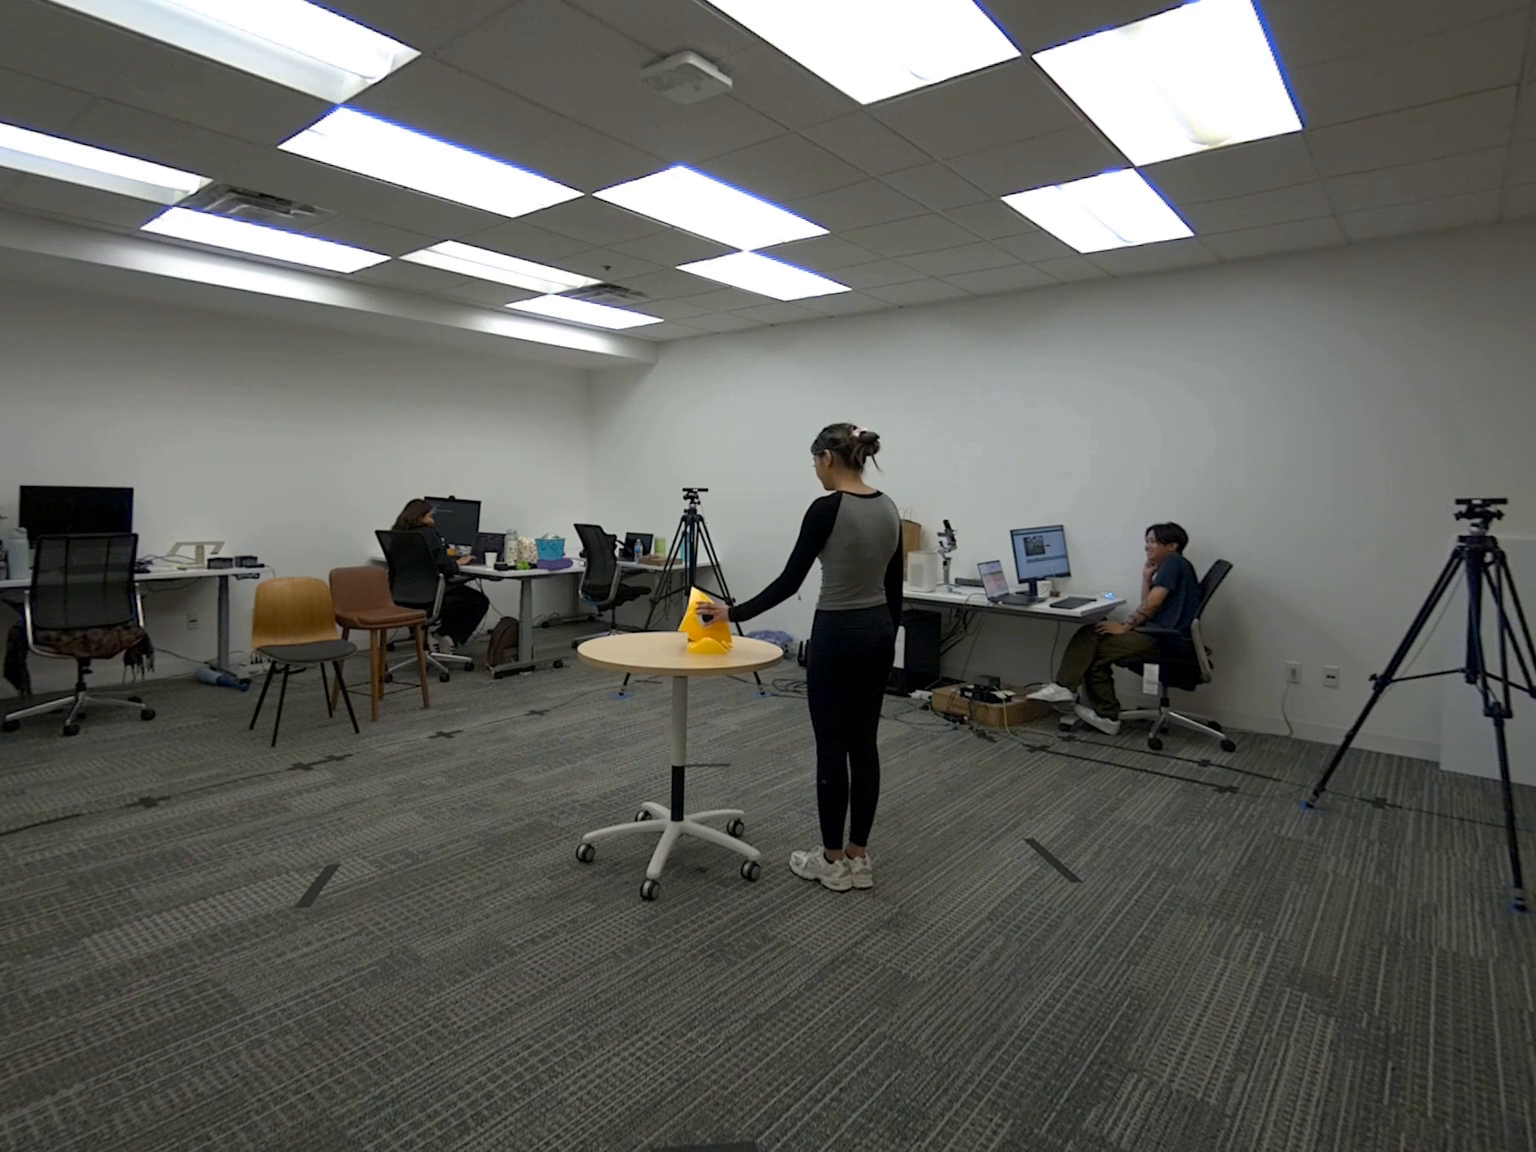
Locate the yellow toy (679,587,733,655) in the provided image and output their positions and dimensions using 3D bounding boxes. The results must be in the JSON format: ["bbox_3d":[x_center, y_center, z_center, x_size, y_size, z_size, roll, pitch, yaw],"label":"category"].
[{"bbox_3d":[-0.234,0.158,3.181,0.195,0.230,0.204,3,4,7],"label":"yellow toy"}]
